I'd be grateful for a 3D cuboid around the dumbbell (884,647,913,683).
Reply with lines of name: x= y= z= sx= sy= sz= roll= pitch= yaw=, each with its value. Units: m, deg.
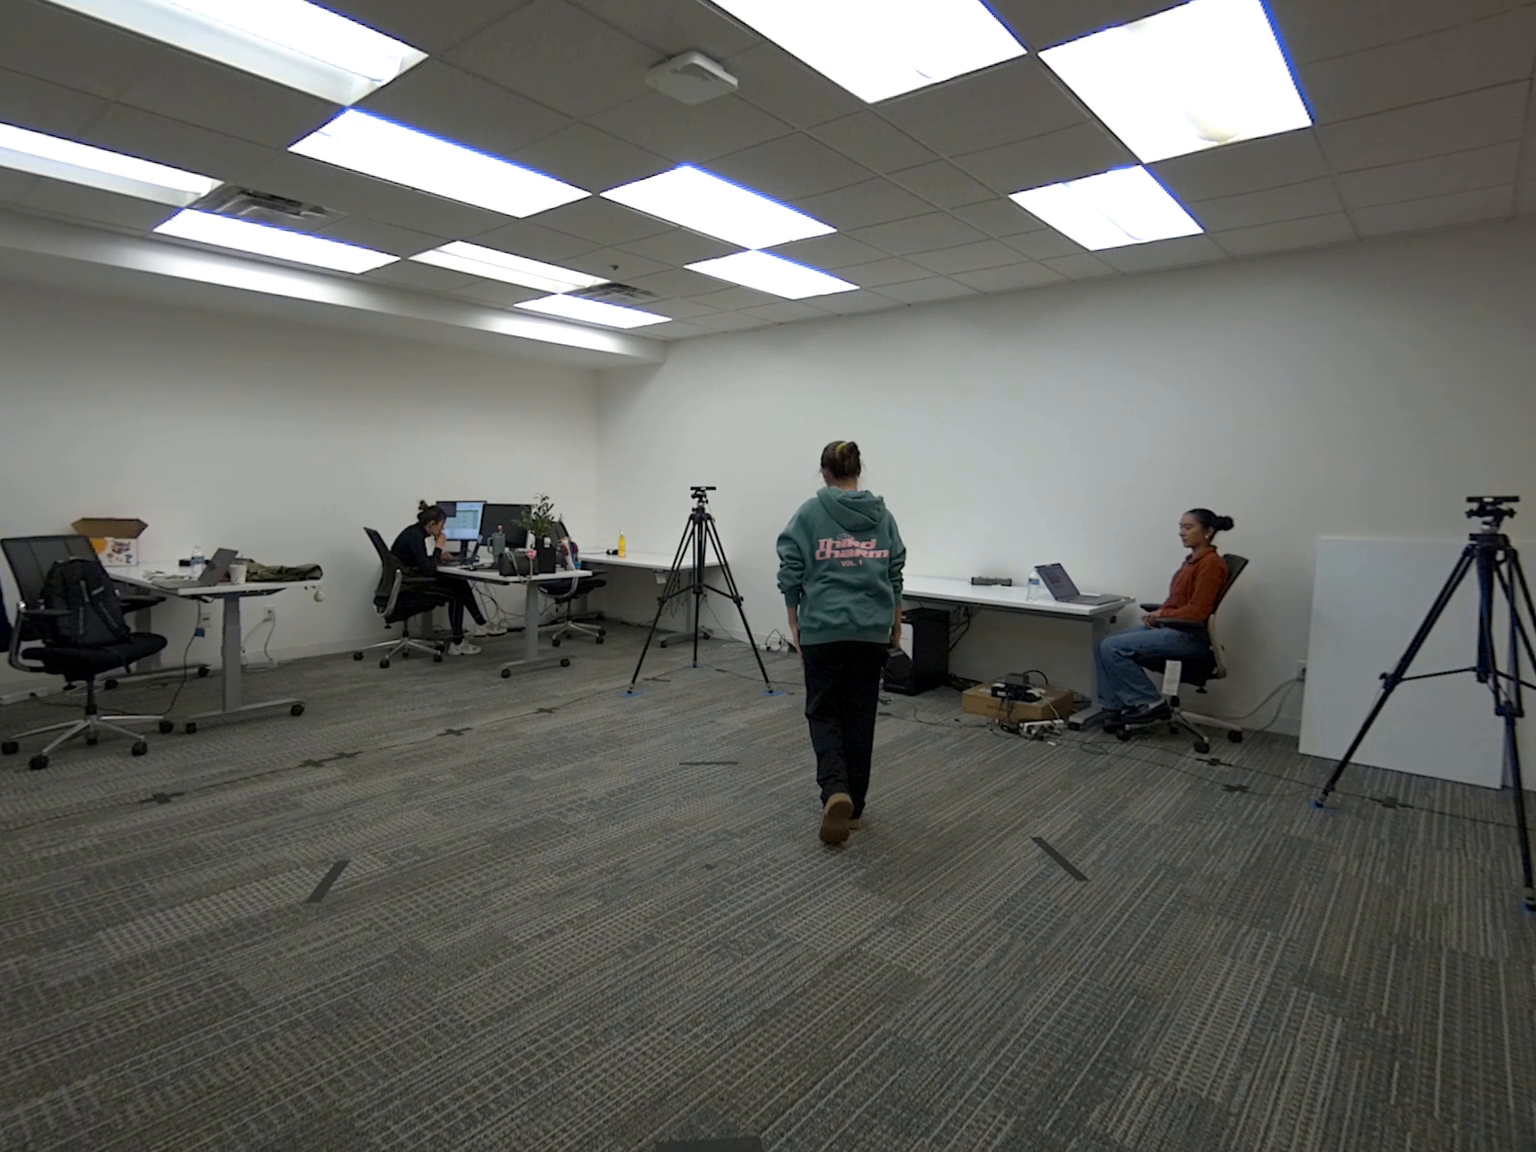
dumbbell: x=0.499 y=0.335 z=3.608 sx=0.107 sy=0.122 sz=0.300 roll=18 pitch=5 yaw=-16
